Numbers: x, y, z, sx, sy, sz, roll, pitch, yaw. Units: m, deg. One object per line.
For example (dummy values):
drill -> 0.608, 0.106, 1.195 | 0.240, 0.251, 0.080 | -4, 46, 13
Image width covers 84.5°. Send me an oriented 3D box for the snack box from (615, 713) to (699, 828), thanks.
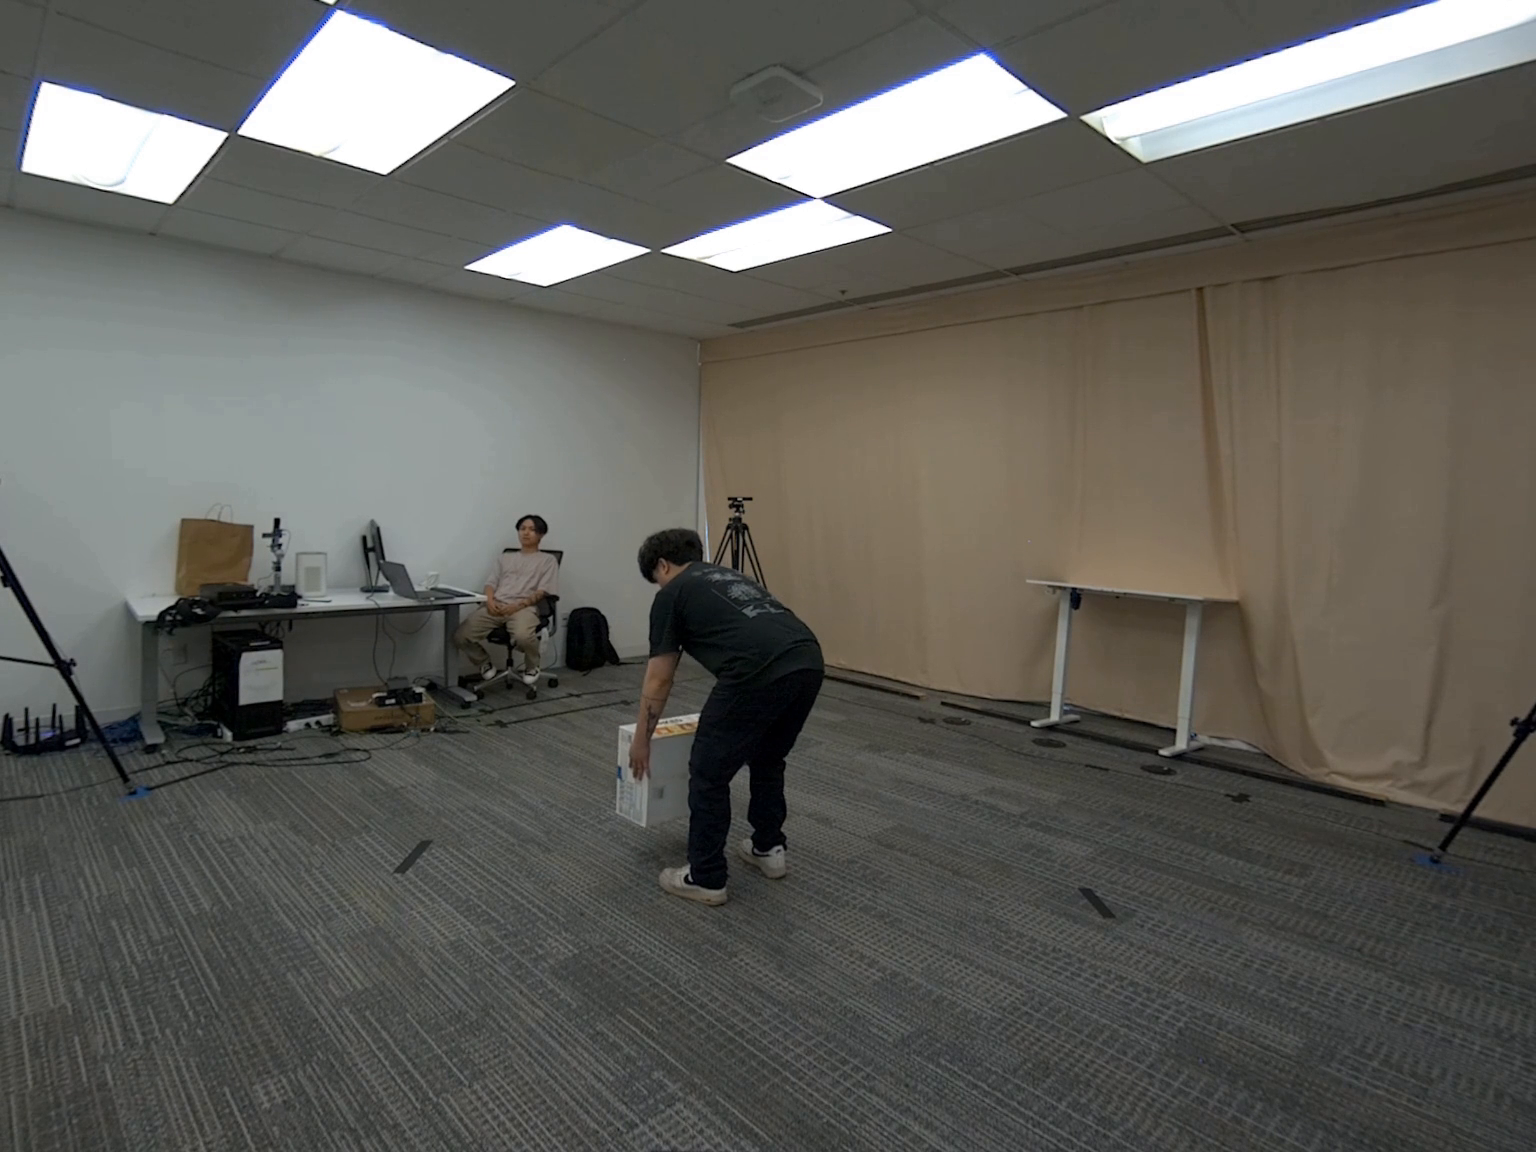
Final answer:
snack box -> -0.374, 0.750, 3.309 | 0.395, 0.340, 0.211 | 0, 4, -42
